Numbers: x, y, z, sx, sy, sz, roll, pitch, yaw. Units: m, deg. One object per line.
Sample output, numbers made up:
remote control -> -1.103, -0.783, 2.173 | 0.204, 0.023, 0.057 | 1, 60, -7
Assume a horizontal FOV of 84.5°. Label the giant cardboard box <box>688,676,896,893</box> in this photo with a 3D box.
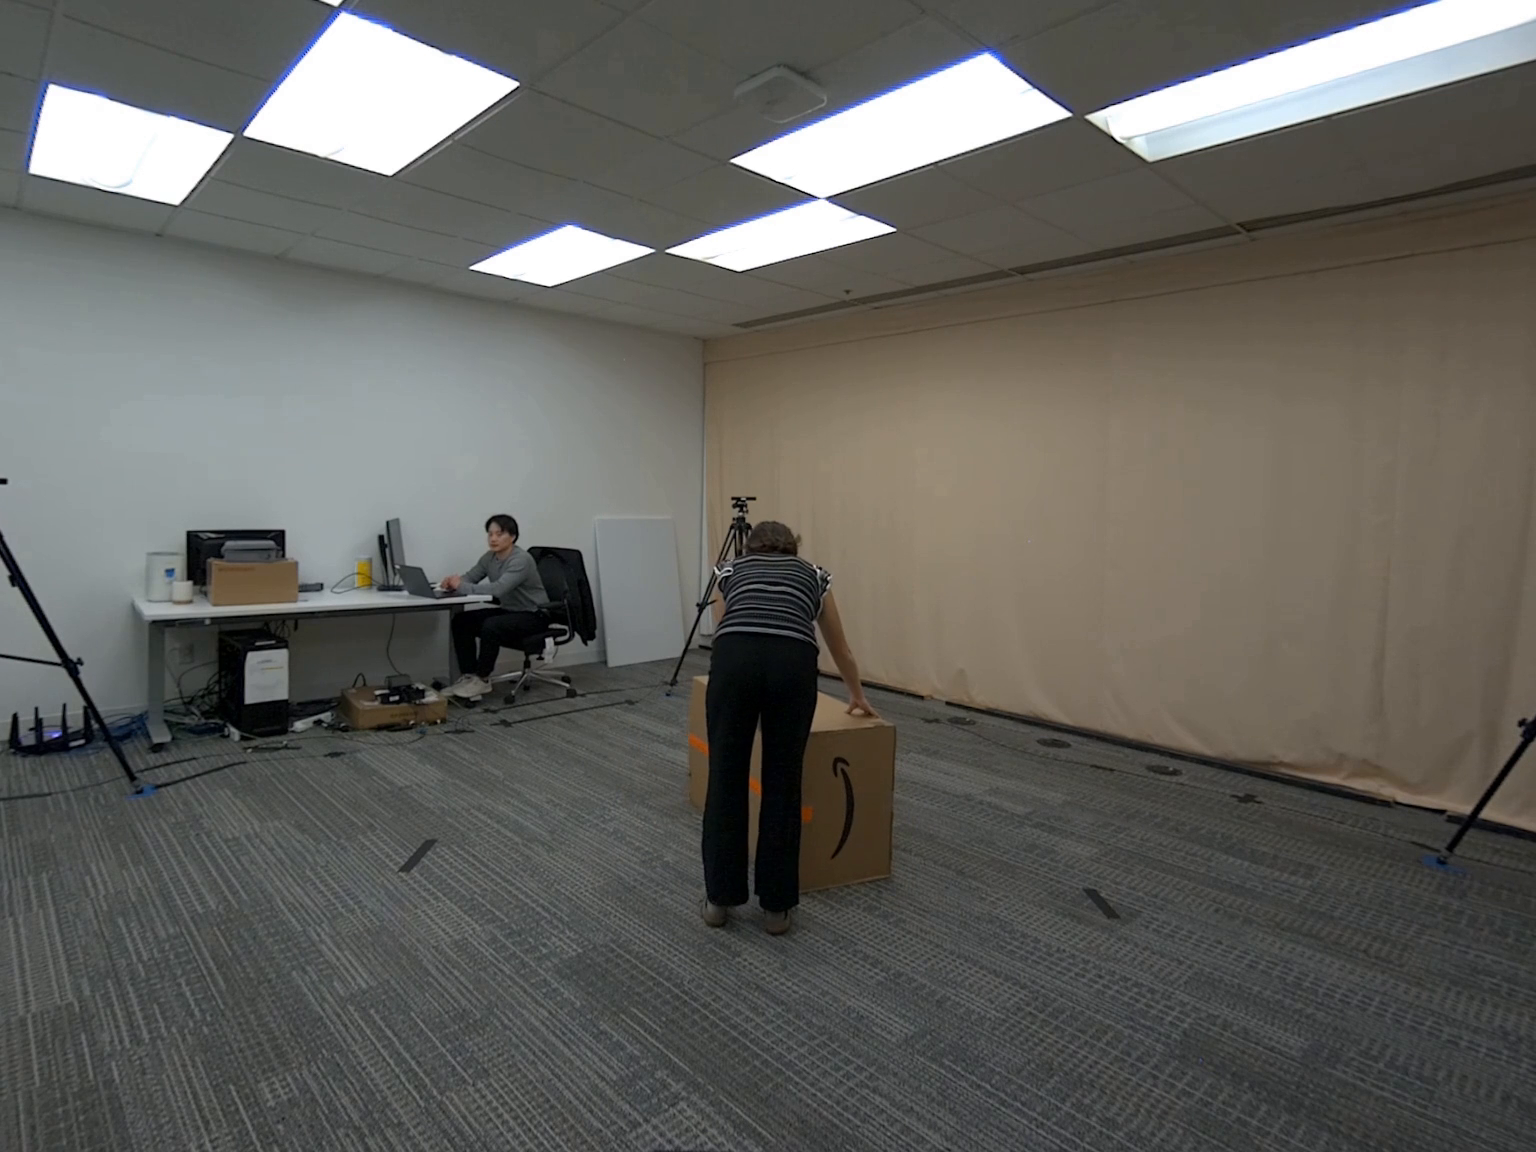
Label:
giant cardboard box -> 0.045, 0.786, 3.497 | 0.419, 0.576, 1.047 | 0, 5, -25
